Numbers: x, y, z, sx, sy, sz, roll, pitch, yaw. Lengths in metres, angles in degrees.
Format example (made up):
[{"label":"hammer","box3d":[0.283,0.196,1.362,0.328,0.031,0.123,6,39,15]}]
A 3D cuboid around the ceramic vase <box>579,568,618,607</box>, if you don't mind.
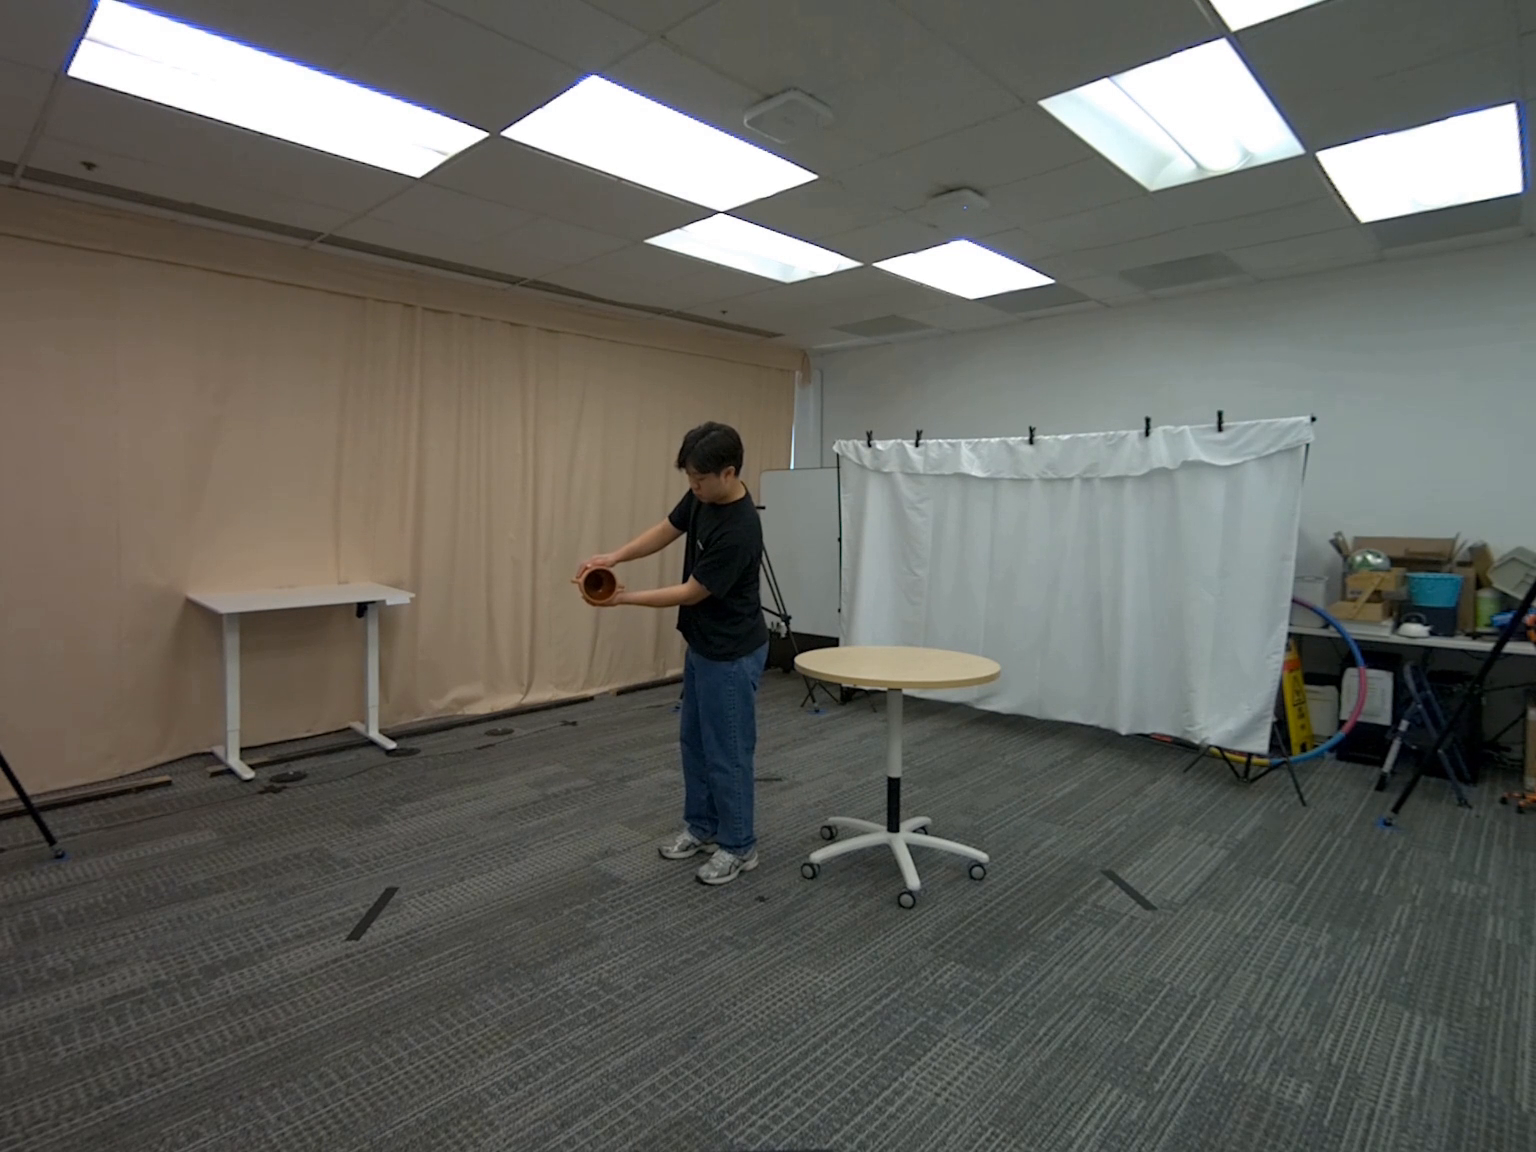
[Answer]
[{"label":"ceramic vase","box3d":[-0.630,0.027,3.120,0.134,0.156,0.224,-47,16,-11]}]
